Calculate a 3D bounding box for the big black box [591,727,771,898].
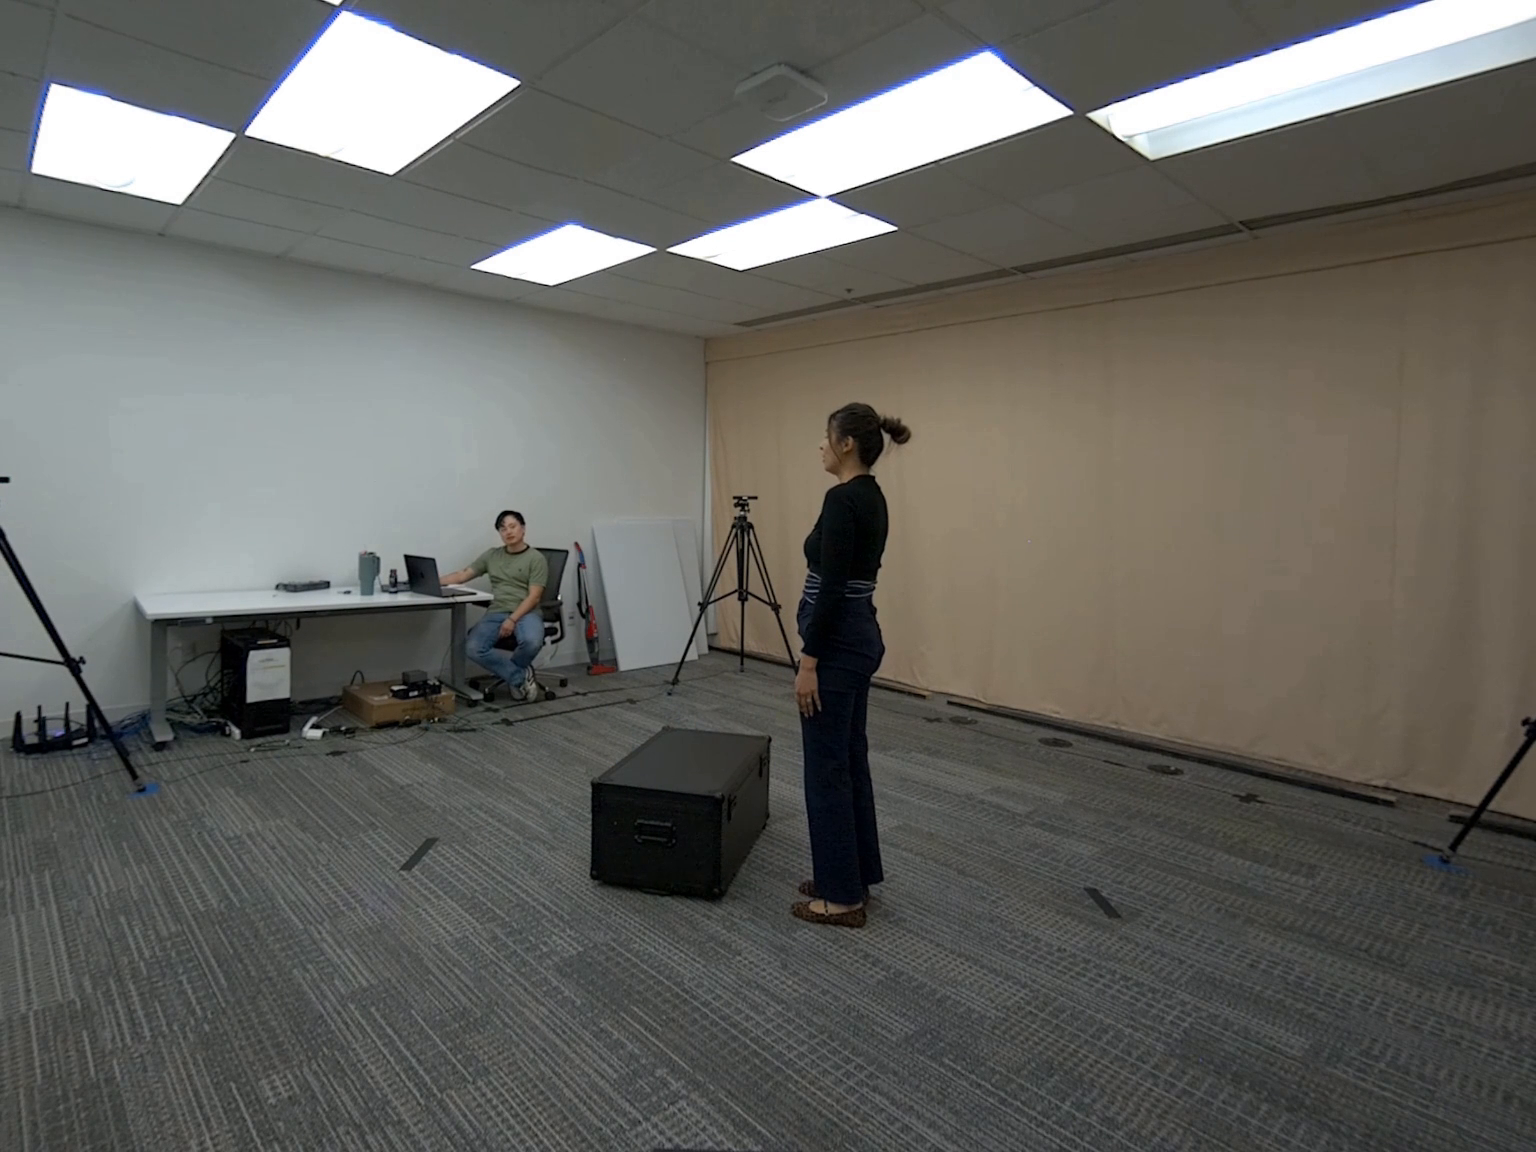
[{"bbox_3d":[-0.303,0.885,3.326,0.527,0.395,0.854,3,6,13],"label":"big black box"}]
